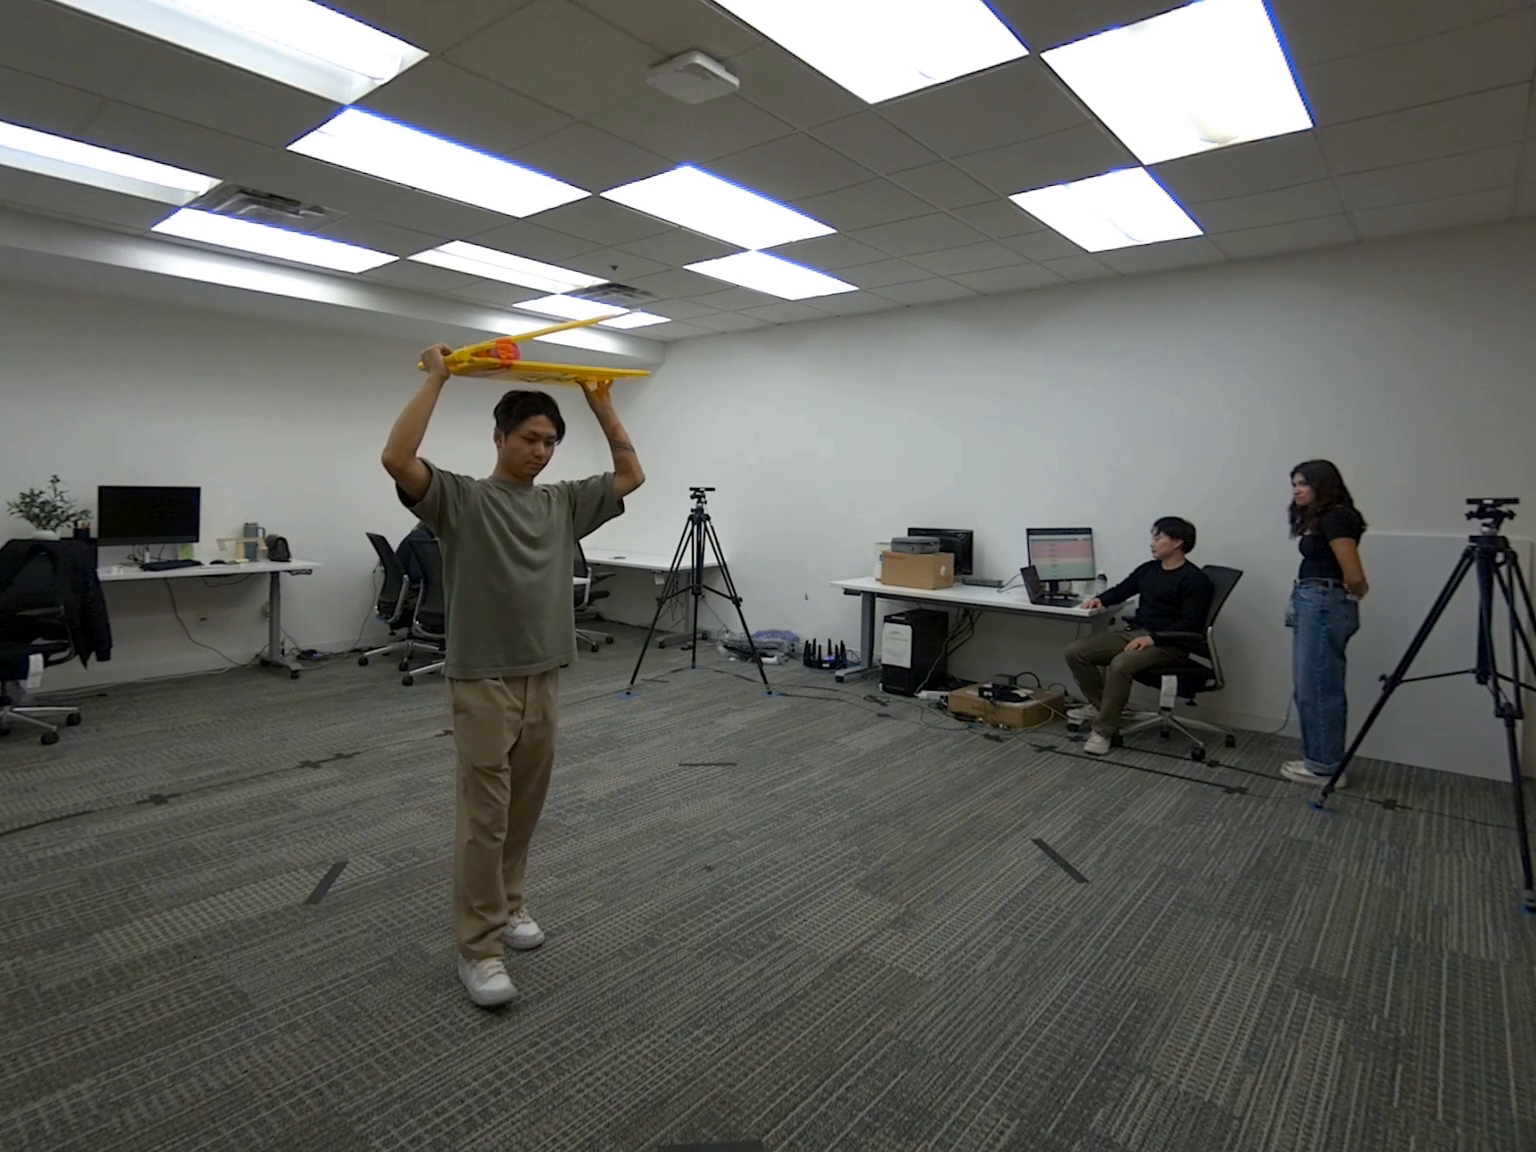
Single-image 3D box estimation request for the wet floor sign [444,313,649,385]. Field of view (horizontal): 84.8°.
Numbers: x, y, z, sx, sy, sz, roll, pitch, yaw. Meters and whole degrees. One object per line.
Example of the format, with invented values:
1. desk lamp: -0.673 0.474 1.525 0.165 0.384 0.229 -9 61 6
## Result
1. wet floor sign: -0.692 -0.648 2.480 0.291 0.286 0.633 2 15 40
